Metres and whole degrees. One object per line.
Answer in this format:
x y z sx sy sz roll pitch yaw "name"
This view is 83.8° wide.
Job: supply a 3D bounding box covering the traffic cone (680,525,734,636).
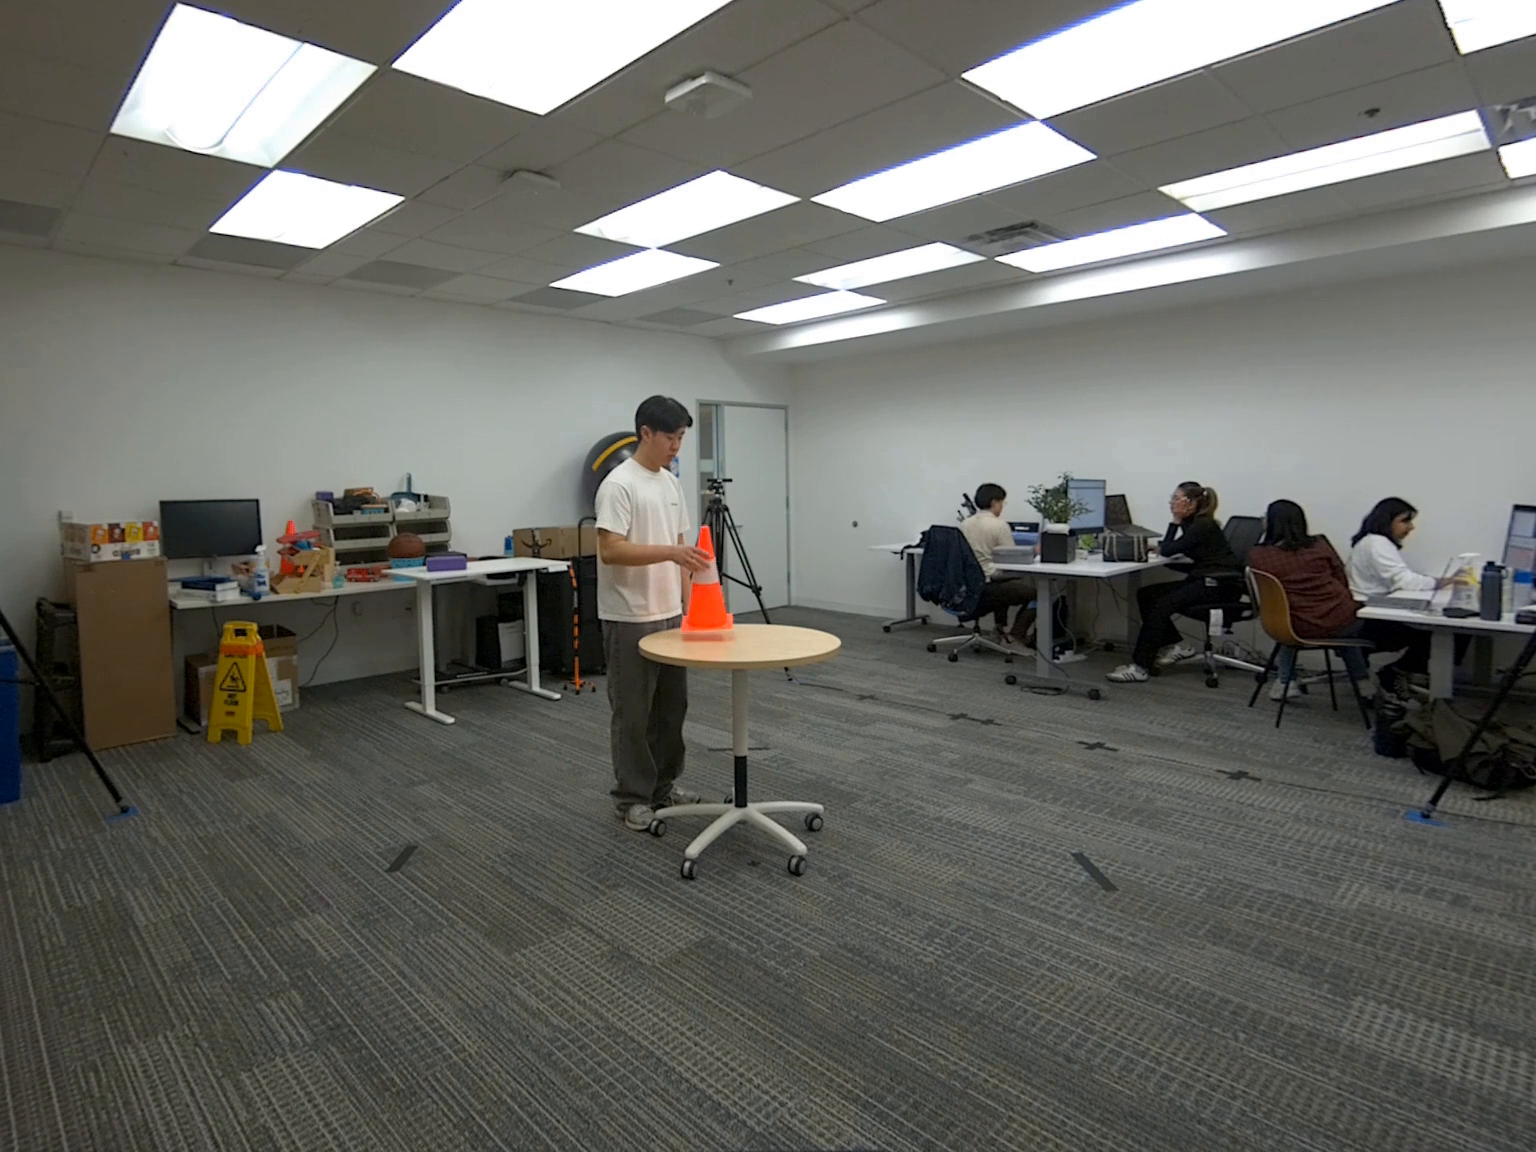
-0.233 0.001 3.281 0.203 0.380 0.207 -3 11 -2 "traffic cone"
